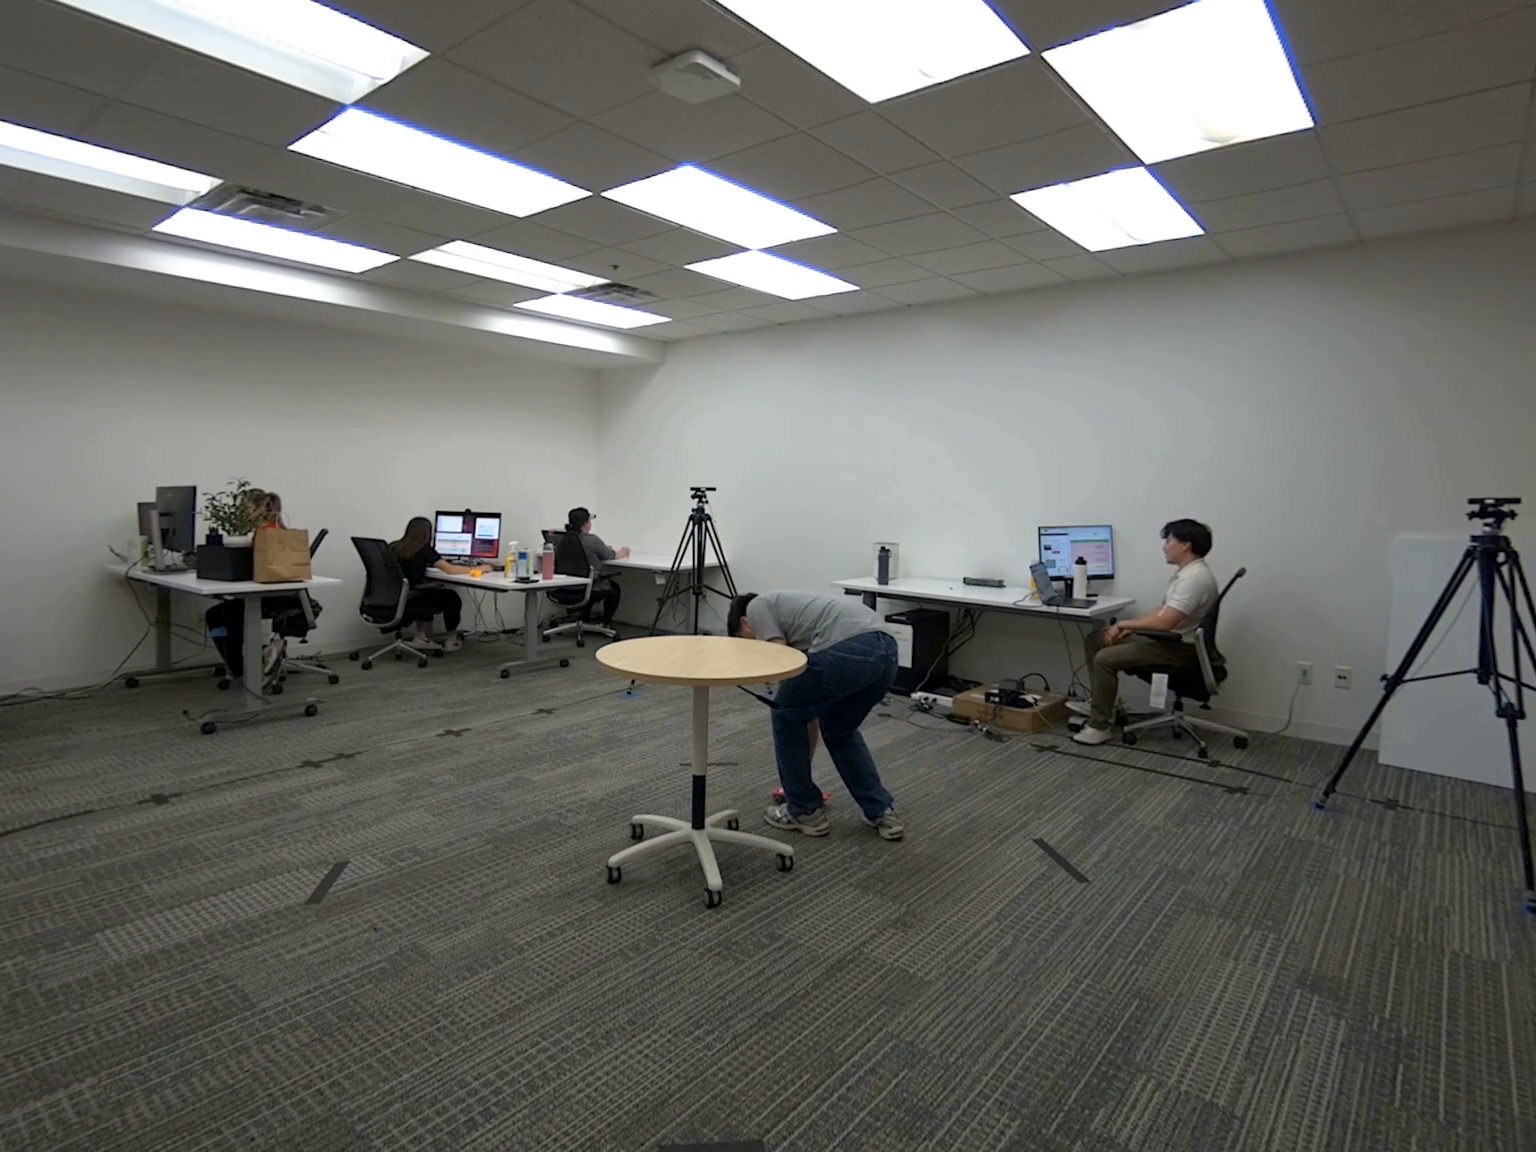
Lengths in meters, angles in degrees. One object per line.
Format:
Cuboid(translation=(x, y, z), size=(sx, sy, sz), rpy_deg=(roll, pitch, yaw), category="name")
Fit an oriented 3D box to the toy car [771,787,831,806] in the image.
Cuboid(translation=(0.143, 0.971, 3.773), size=(0.259, 0.083, 0.128), rpy_deg=(-8, 0, 21), category="toy car")
